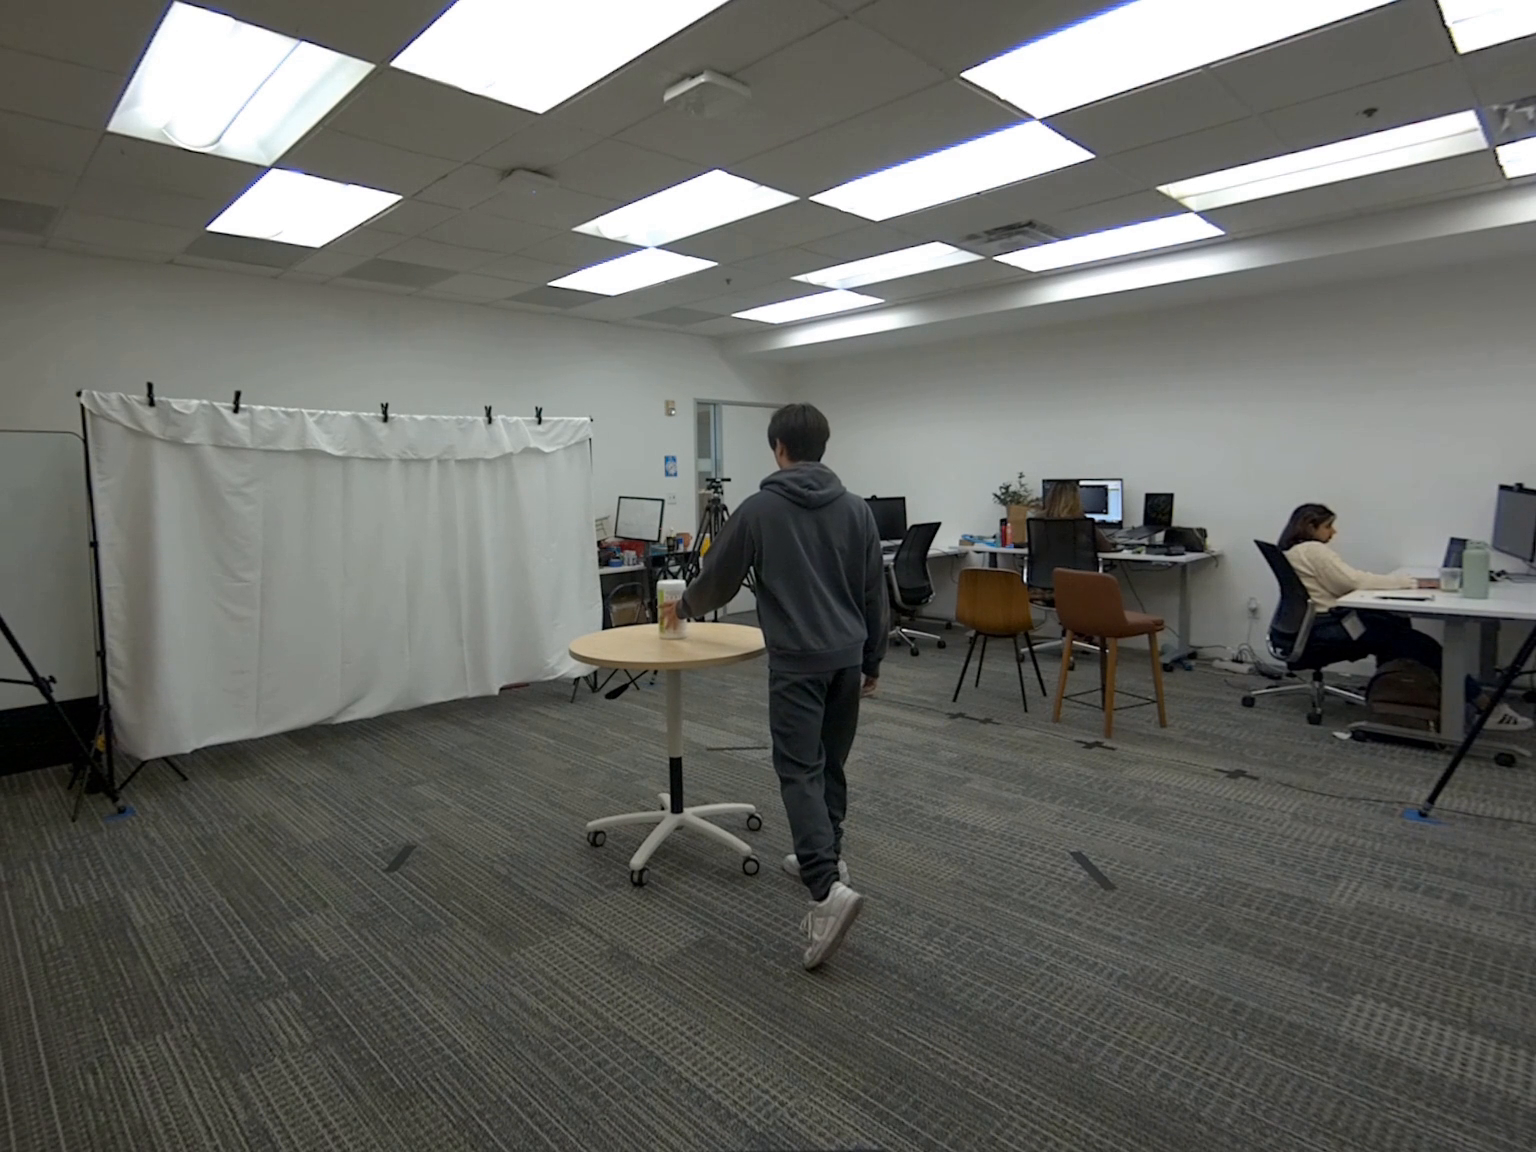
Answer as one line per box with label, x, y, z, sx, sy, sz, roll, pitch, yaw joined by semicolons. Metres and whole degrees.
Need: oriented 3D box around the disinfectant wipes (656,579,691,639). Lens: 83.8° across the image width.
disinfectant wipes;-0.359;0.128;3.251;0.118;0.217;0.118;-4;3;-1
